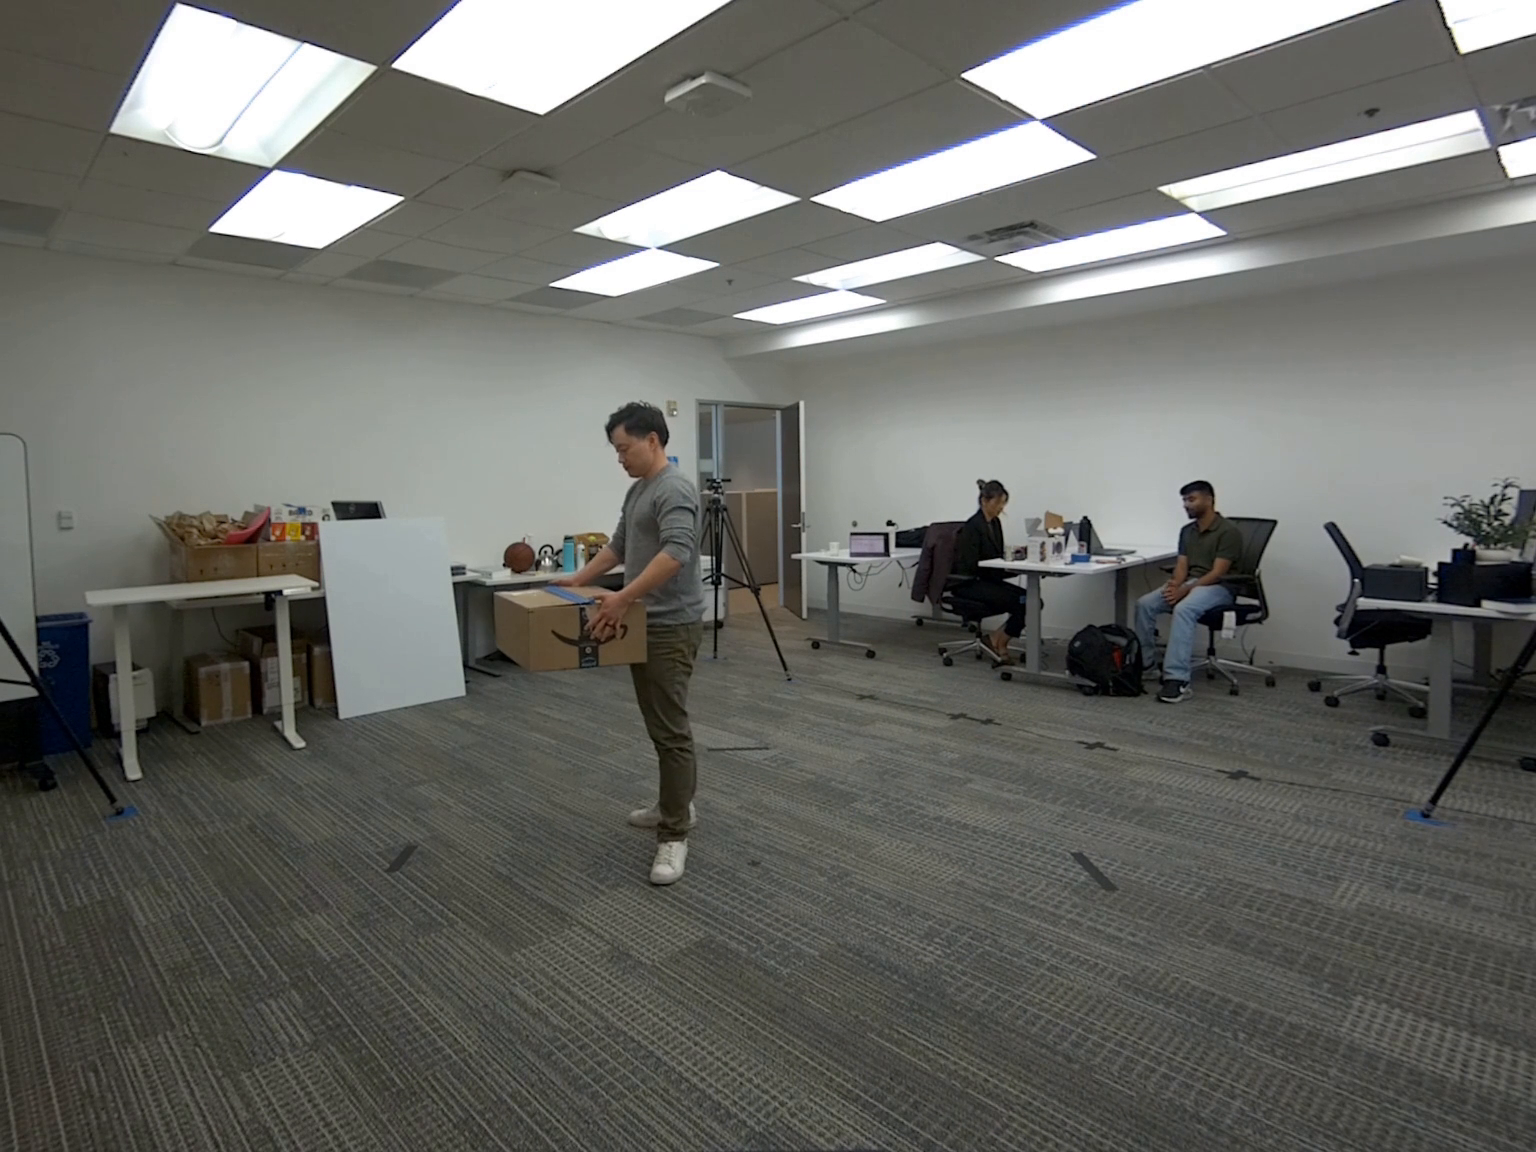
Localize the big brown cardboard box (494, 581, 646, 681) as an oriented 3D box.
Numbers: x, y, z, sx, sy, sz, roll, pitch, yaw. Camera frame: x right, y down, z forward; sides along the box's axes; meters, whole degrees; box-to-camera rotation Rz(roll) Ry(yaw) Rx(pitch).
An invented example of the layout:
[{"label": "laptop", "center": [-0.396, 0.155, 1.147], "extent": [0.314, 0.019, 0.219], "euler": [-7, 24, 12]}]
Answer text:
[{"label": "big brown cardboard box", "center": [-0.743, 0.179, 3.134], "extent": [0.409, 0.232, 0.604], "euler": [-2, 7, -25]}]
